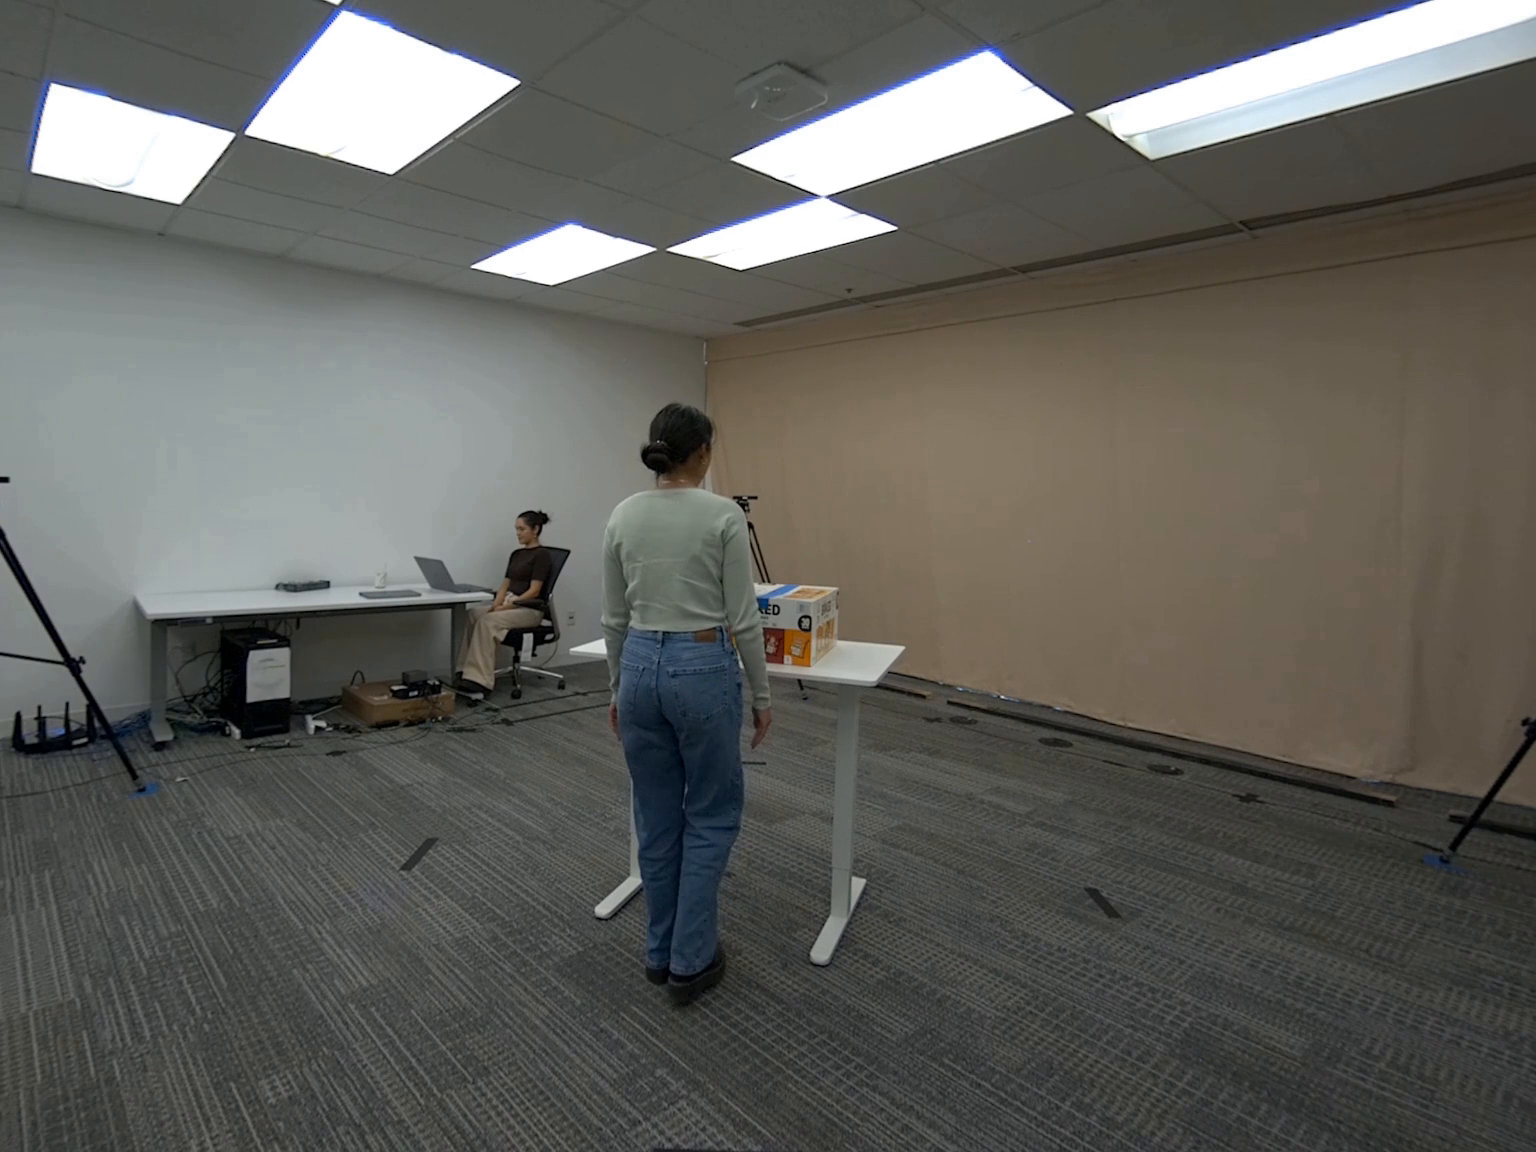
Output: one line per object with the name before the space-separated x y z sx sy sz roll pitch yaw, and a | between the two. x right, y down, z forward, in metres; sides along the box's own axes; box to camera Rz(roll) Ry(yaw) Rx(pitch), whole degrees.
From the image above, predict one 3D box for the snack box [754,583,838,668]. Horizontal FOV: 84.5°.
snack box | 0.023 0.152 2.808 0.345 0.205 0.400 3 6 17
